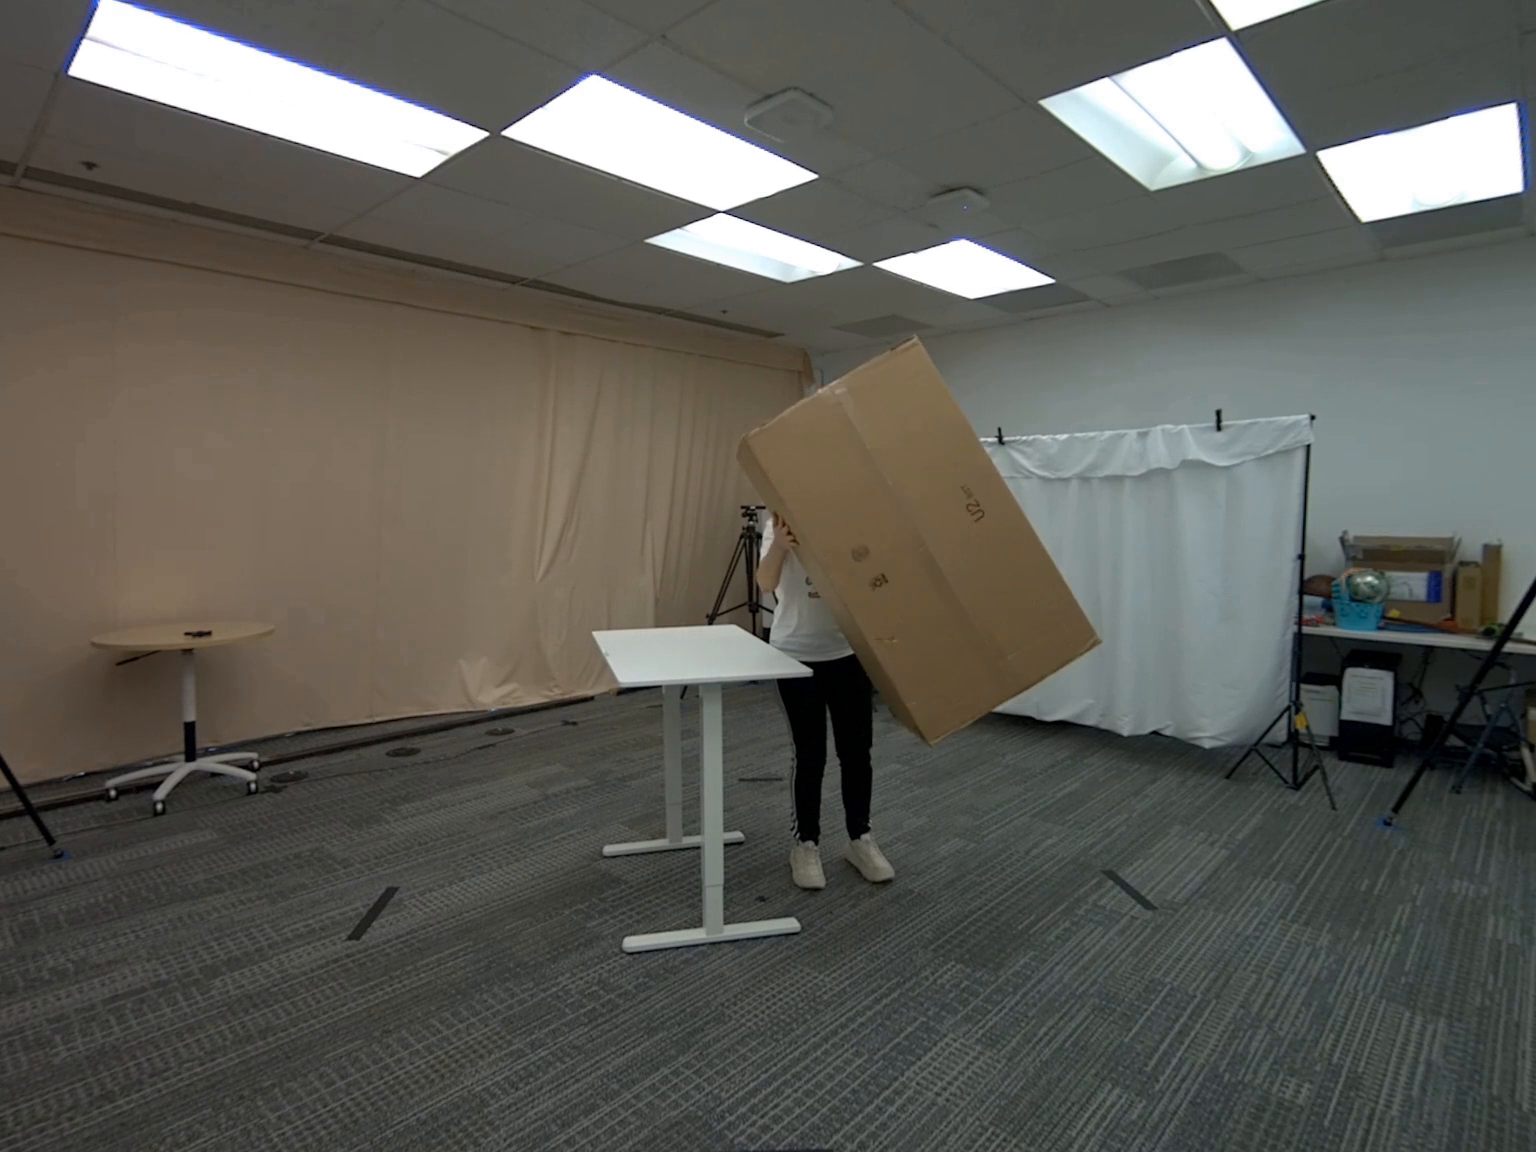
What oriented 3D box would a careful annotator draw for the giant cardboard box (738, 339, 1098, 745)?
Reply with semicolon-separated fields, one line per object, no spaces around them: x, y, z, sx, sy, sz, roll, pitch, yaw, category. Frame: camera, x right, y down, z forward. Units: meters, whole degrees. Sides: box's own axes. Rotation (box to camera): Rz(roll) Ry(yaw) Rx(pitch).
0.422;-0.095;2.570;0.583;1.026;0.448;-31;1;-2;giant cardboard box
